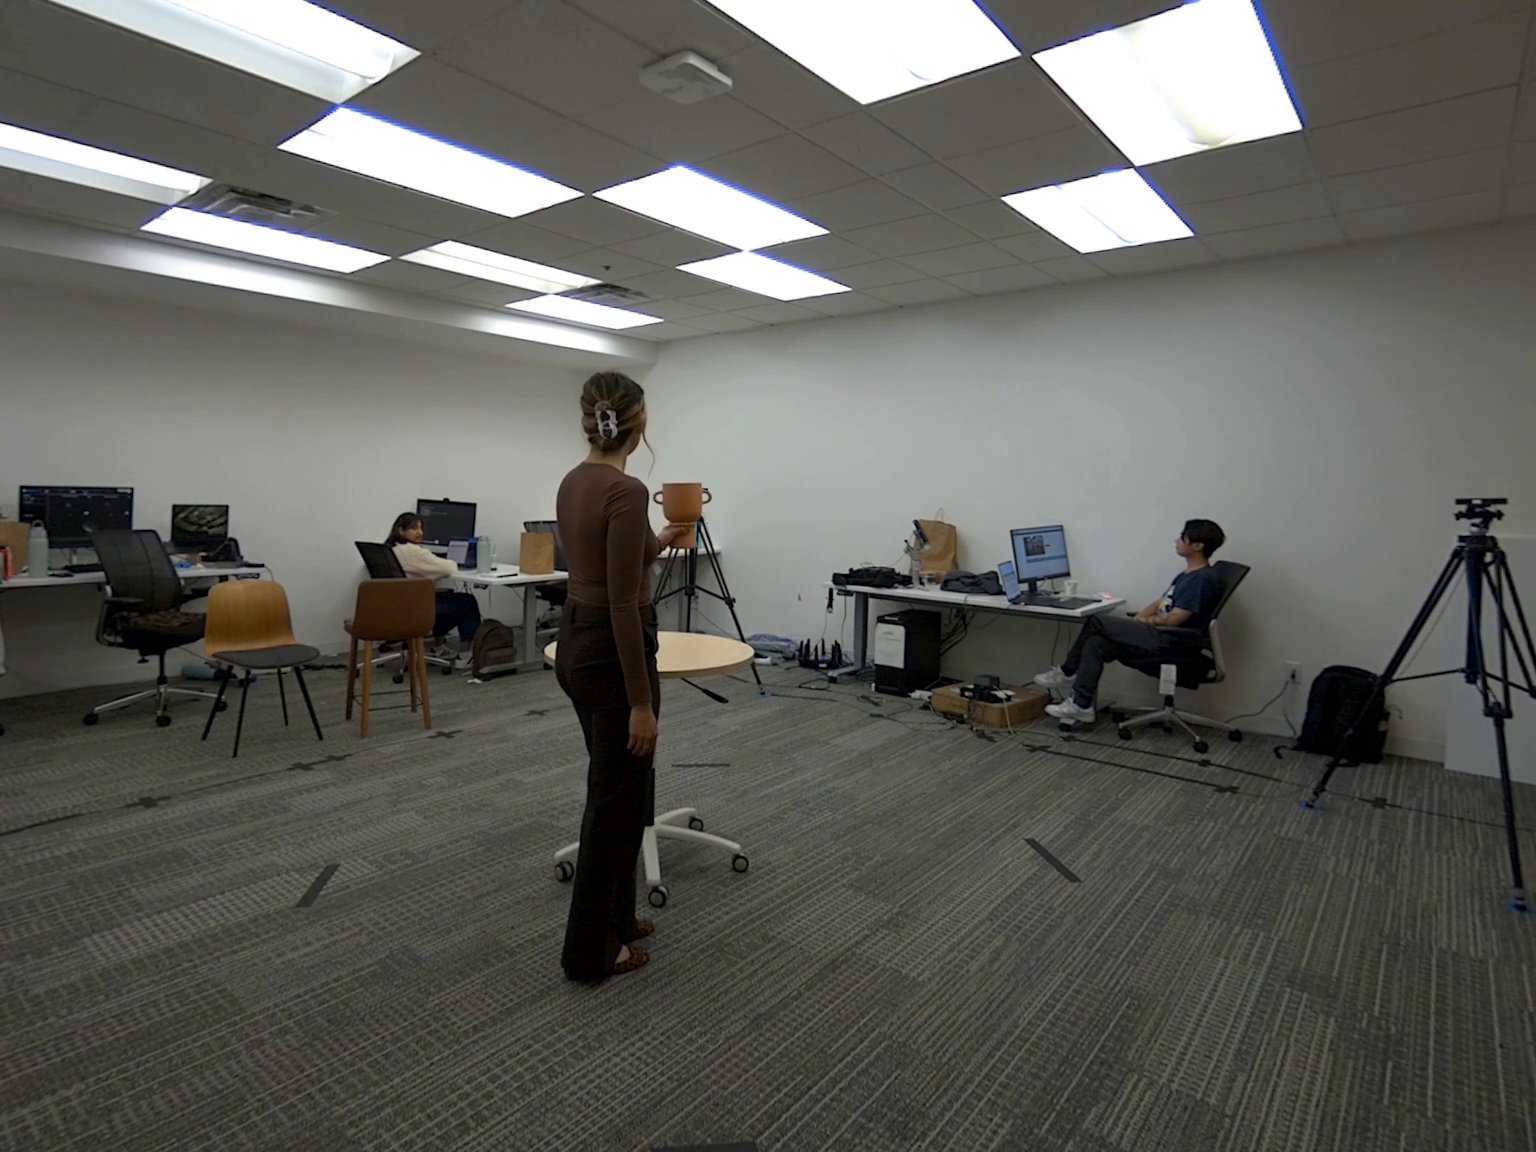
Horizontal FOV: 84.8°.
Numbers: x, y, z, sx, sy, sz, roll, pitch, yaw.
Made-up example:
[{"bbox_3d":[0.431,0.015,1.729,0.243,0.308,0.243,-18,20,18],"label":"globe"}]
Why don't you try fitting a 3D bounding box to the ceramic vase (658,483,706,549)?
[{"bbox_3d":[-0.302,-0.205,2.867,0.164,0.219,0.131,3,4,33],"label":"ceramic vase"}]
